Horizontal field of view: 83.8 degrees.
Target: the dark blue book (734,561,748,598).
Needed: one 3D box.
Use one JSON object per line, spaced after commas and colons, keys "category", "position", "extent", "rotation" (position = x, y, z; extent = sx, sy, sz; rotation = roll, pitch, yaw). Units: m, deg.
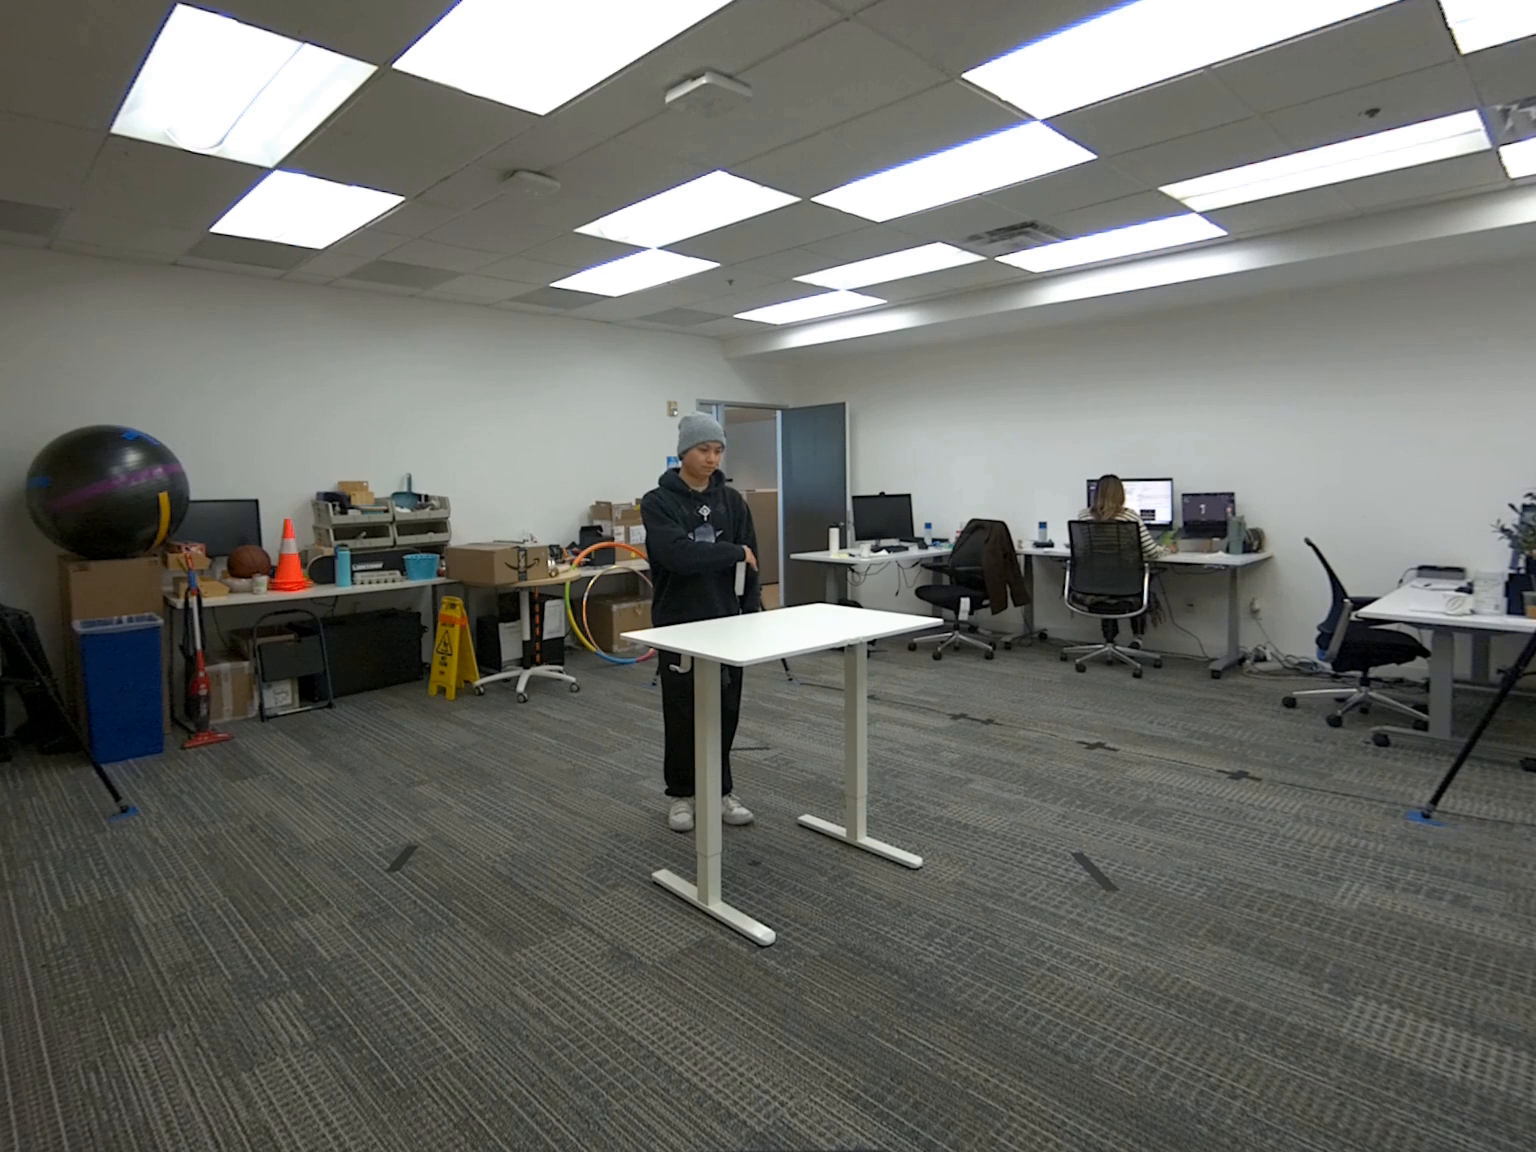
{"category": "dark blue book", "position": [-0.125, 0.016, 3.529], "extent": [0.045, 0.241, 0.168], "rotation": [4, 23, -11]}
